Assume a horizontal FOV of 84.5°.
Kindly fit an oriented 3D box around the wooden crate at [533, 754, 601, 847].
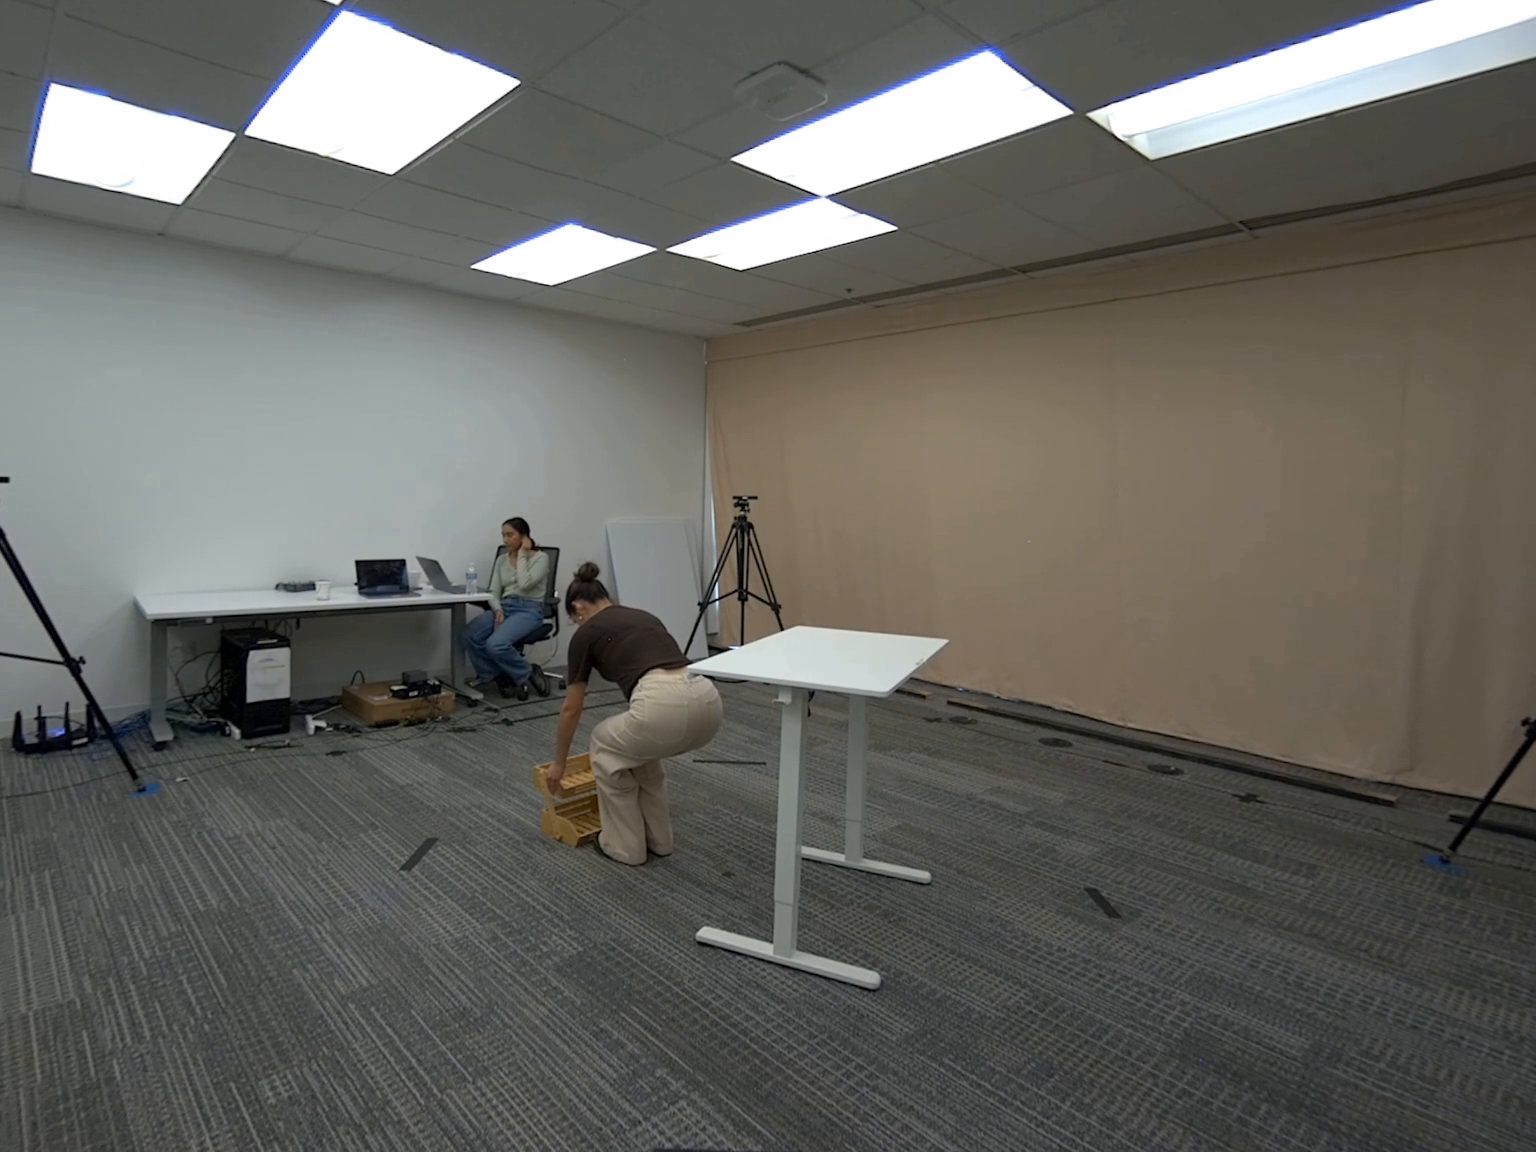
[{"bbox_3d":[-0.760,0.912,3.496,0.309,0.272,0.317,4,5,40],"label":"wooden crate"}]
